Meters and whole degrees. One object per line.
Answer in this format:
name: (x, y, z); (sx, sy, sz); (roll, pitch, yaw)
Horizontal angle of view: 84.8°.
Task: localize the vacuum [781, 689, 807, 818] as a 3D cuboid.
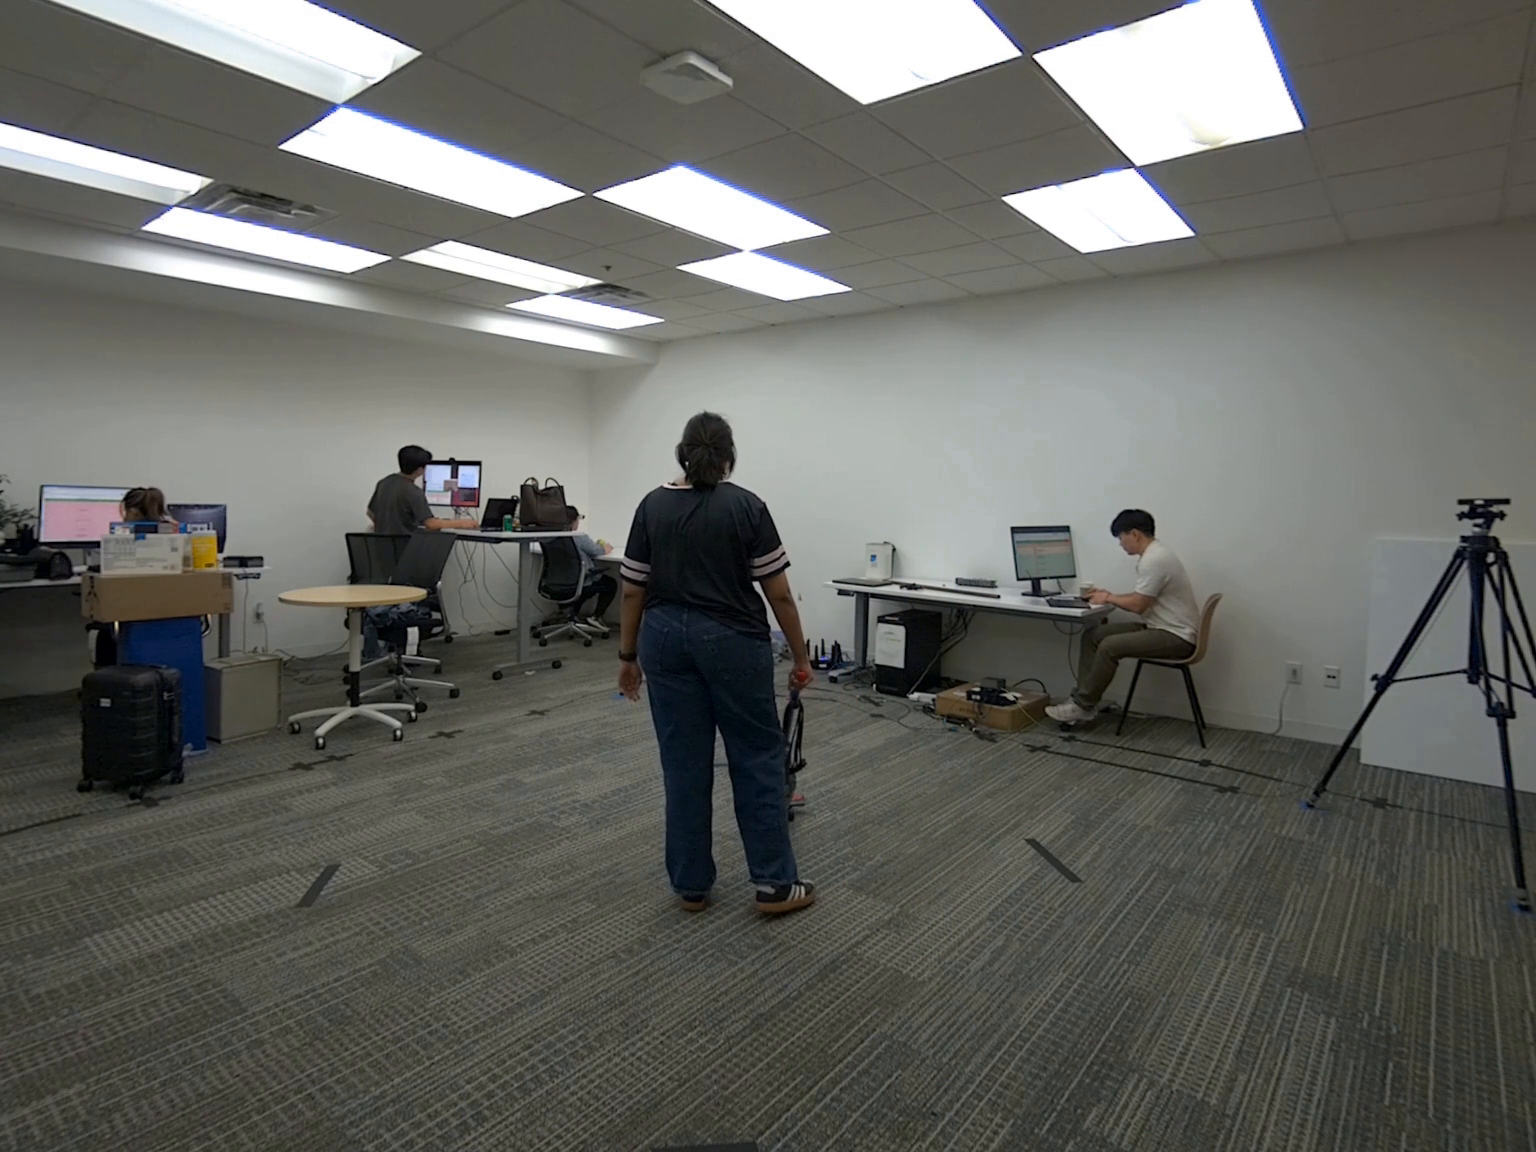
vacuum: (0.064, 0.671, 3.249); (0.251, 0.148, 1.022); (0, -41, -5)
